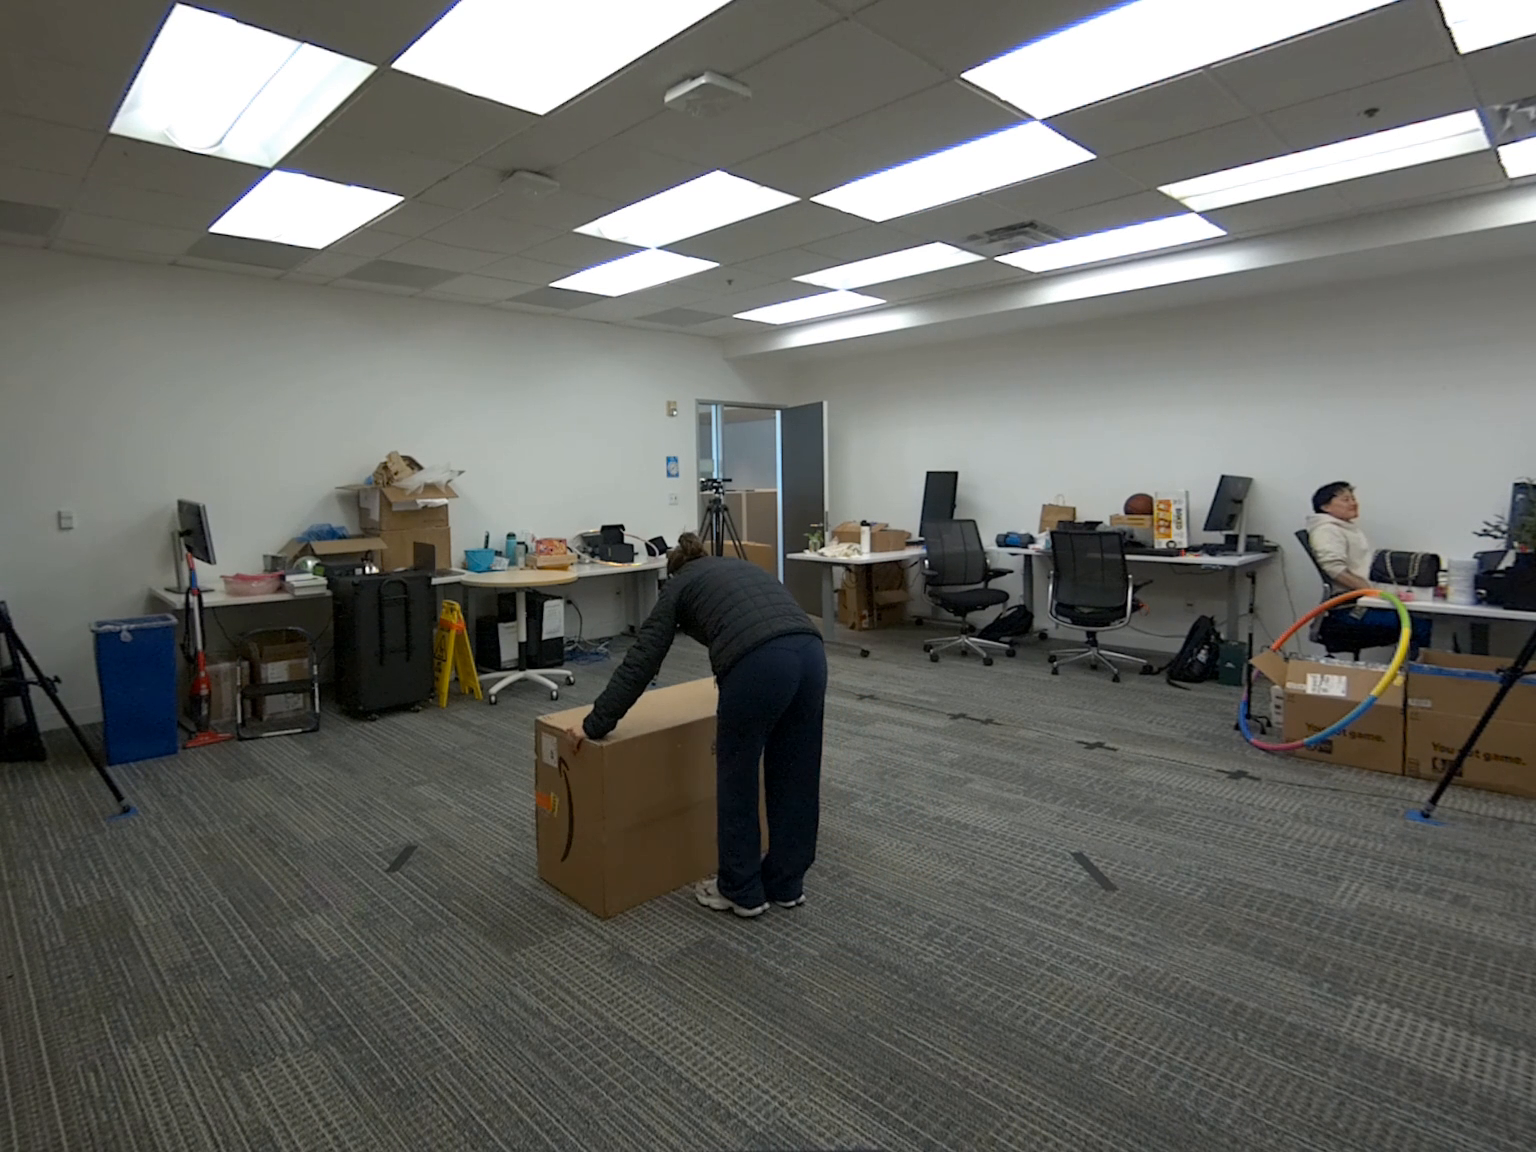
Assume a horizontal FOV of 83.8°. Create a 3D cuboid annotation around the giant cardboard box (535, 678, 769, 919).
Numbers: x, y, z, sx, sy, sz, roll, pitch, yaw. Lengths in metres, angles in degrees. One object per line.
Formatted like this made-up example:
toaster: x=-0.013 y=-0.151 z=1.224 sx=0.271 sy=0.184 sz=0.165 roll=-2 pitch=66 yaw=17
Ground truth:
giant cardboard box: x=-0.319 y=0.751 z=3.203 sx=1.000 sy=0.581 sz=0.461 roll=-6 pitch=9 yaw=-43
